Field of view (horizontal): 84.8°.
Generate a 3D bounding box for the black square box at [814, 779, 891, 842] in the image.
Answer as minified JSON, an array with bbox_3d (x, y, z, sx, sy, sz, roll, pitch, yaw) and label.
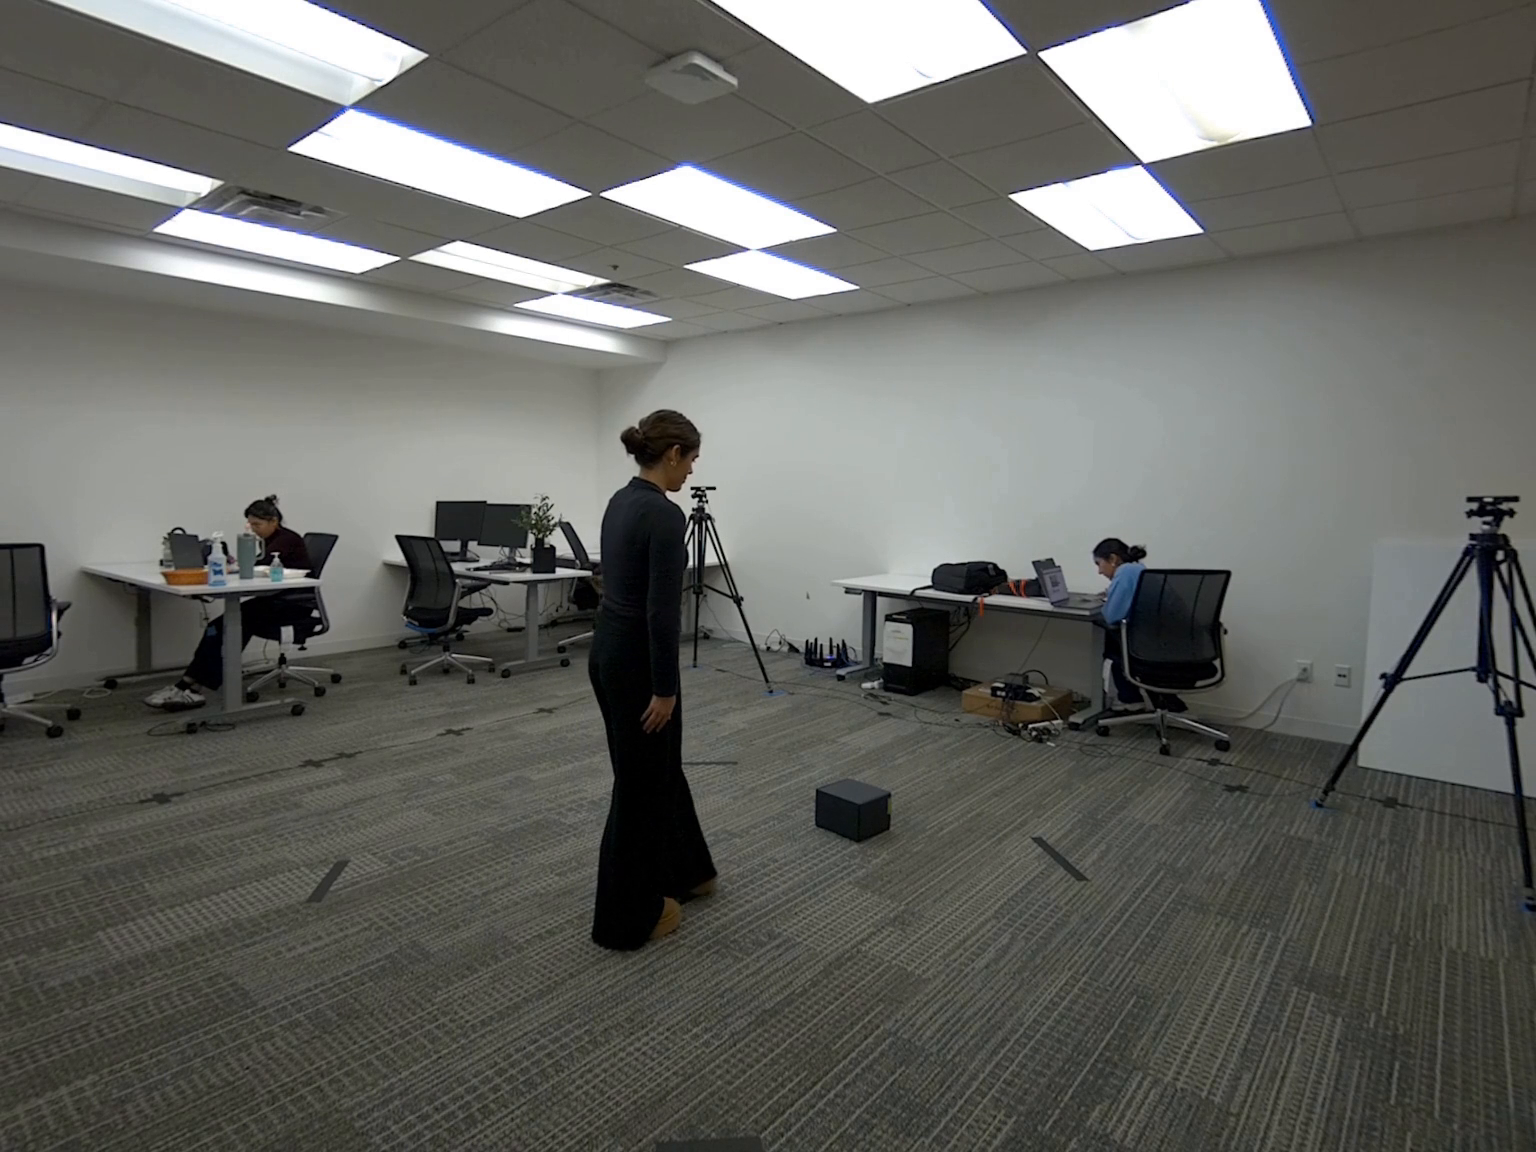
[{"bbox_3d":[0.343,0.953,3.503,0.210,0.155,0.236,-3,6,-45],"label":"black square box"}]
